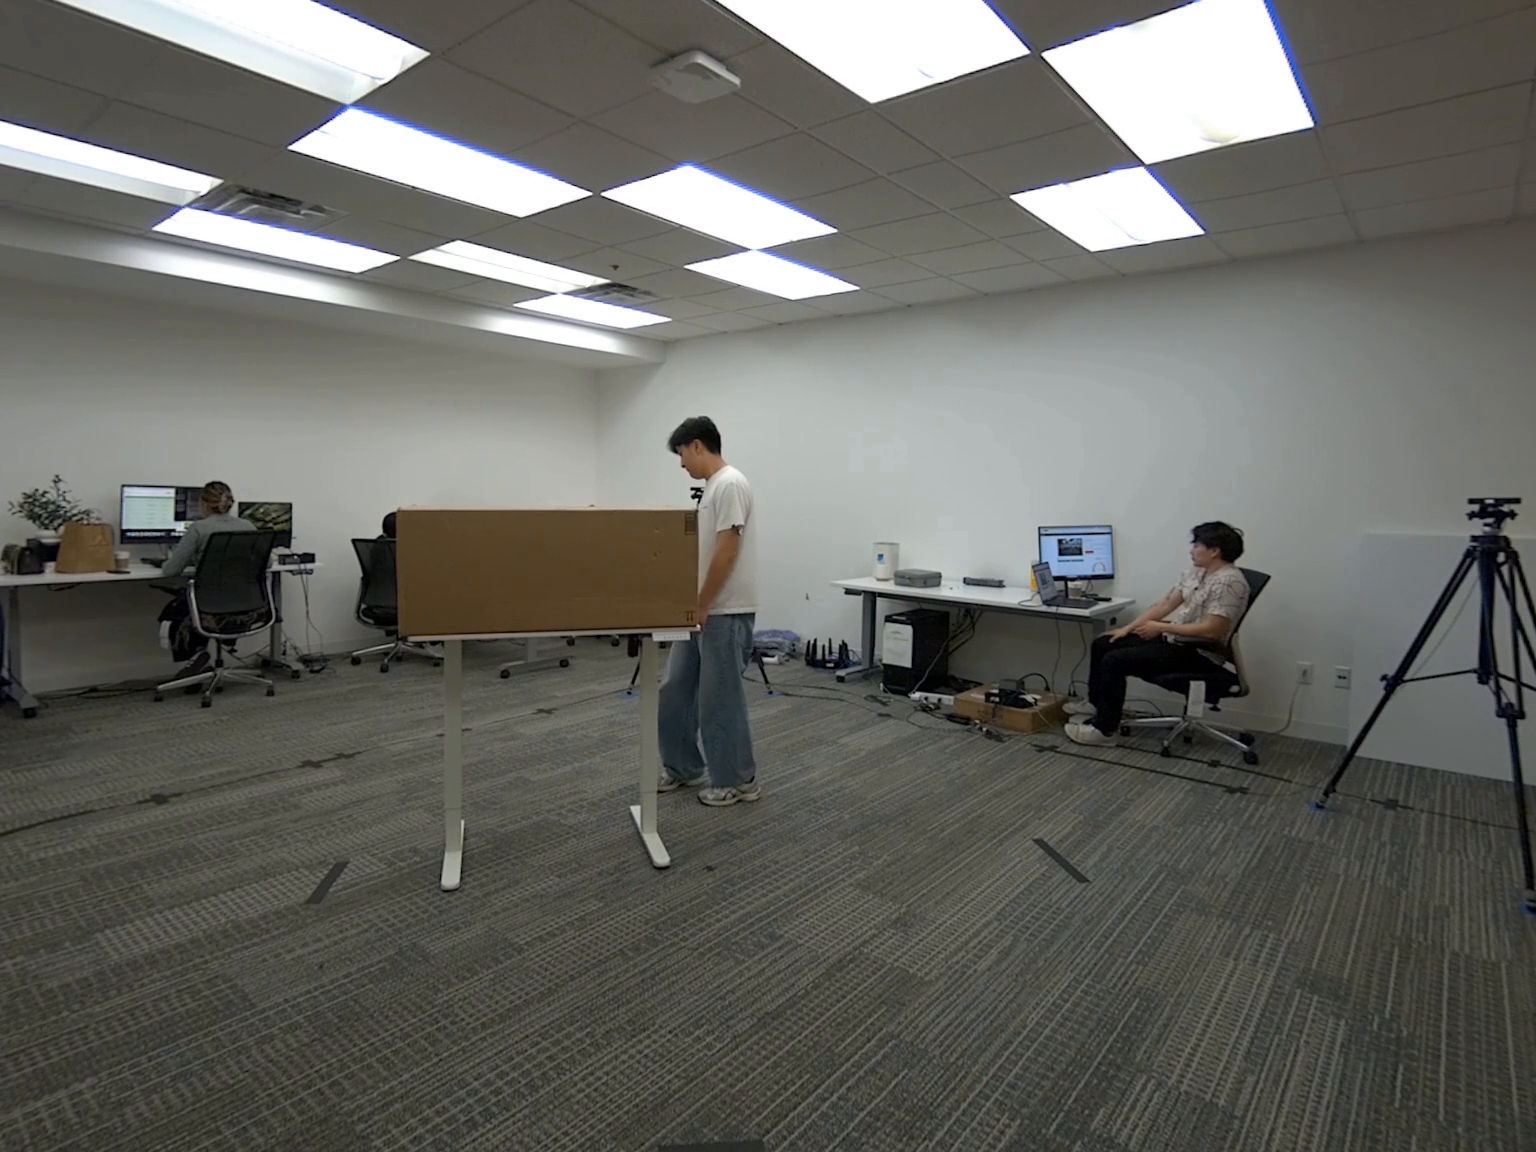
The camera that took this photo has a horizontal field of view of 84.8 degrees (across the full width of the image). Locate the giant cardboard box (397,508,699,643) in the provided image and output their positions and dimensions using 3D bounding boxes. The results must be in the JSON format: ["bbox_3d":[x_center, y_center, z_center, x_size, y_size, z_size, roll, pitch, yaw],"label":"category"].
[{"bbox_3d":[-0.831,-0.047,3.192,1.010,0.424,0.589,-1,6,-15],"label":"giant cardboard box"}]
